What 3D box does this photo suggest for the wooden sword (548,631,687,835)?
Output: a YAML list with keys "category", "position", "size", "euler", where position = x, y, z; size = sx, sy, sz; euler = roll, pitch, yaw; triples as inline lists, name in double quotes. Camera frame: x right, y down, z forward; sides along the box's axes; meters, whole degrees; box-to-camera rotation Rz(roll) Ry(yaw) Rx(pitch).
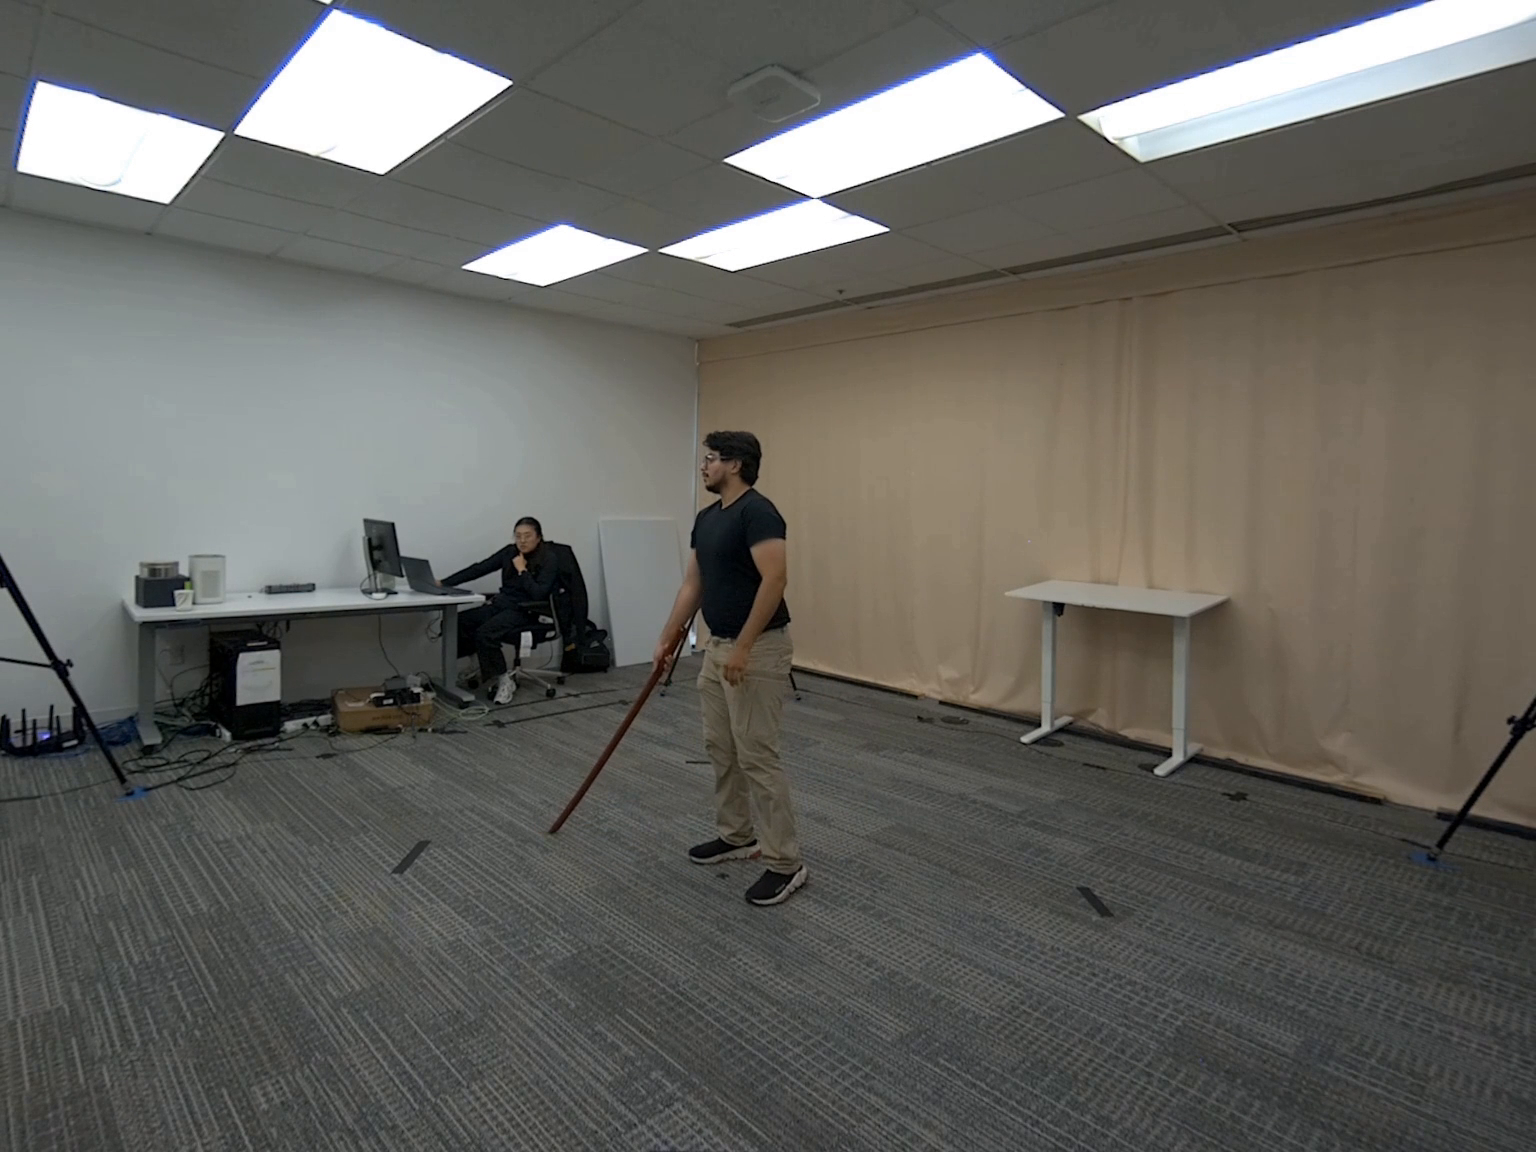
- category: "wooden sword"
  position: [-0.605, 0.642, 3.393]
  size: [0.050, 1.024, 0.025]
  euler: [31, 6, -37]
